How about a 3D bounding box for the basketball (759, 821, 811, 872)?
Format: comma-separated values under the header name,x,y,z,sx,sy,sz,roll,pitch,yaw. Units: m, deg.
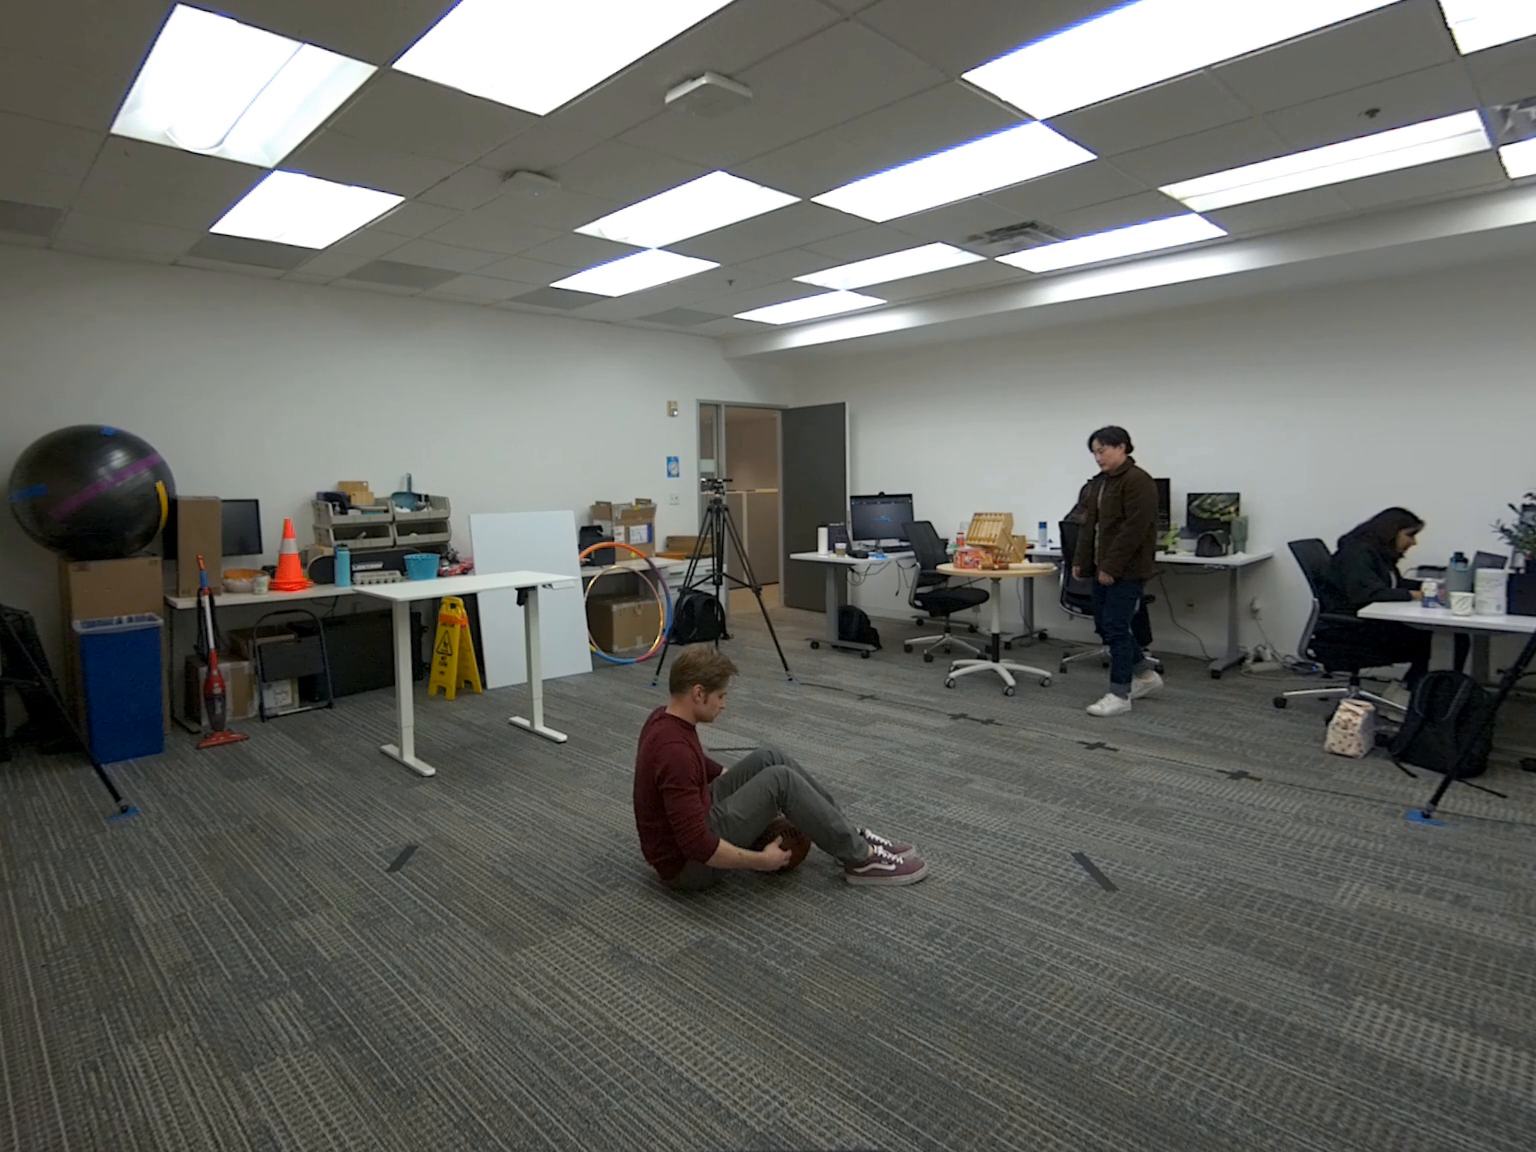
name,x,y,z,sx,sy,sz,roll,pitch,yaw
basketball,0.034,0.930,3.069,0.236,0.235,0.237,-1,5,-2
